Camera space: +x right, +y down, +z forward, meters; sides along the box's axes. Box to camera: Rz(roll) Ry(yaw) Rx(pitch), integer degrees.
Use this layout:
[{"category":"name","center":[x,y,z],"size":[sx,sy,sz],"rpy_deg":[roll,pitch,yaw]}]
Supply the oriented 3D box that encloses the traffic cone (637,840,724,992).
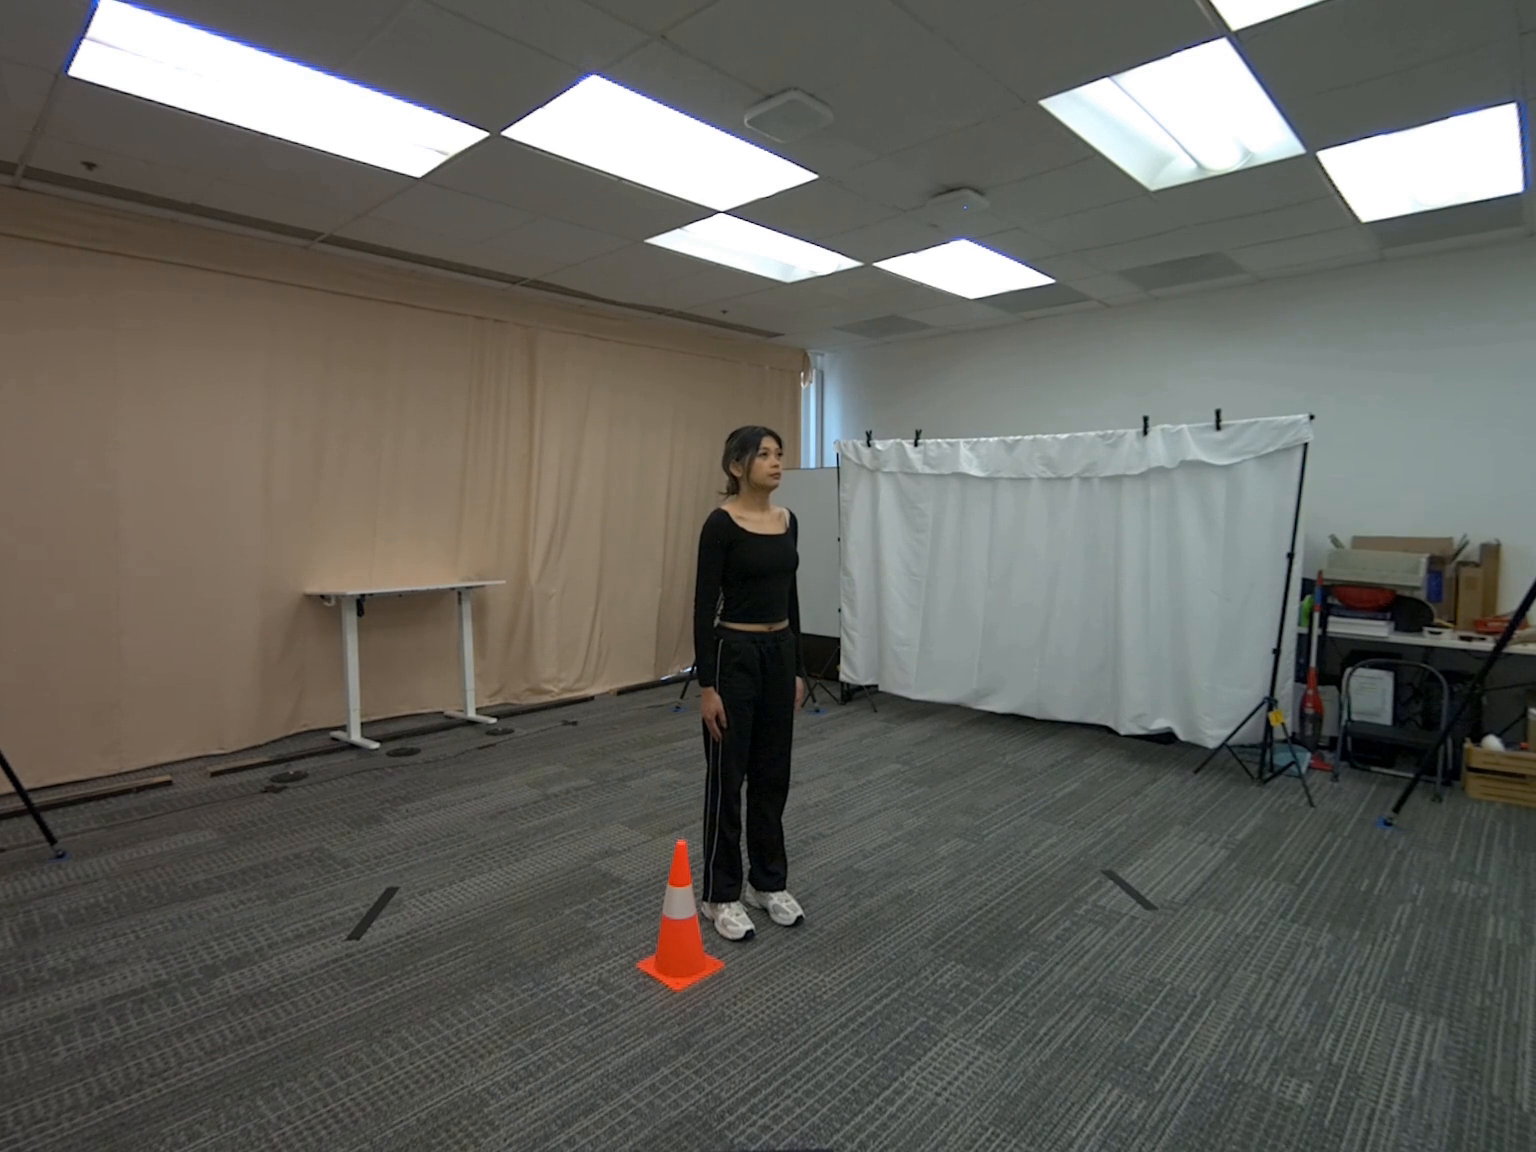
[{"category":"traffic cone","center":[-0.262,0.993,2.543],"size":[0.197,0.383,0.211],"rpy_deg":[-3,4,-35]}]
